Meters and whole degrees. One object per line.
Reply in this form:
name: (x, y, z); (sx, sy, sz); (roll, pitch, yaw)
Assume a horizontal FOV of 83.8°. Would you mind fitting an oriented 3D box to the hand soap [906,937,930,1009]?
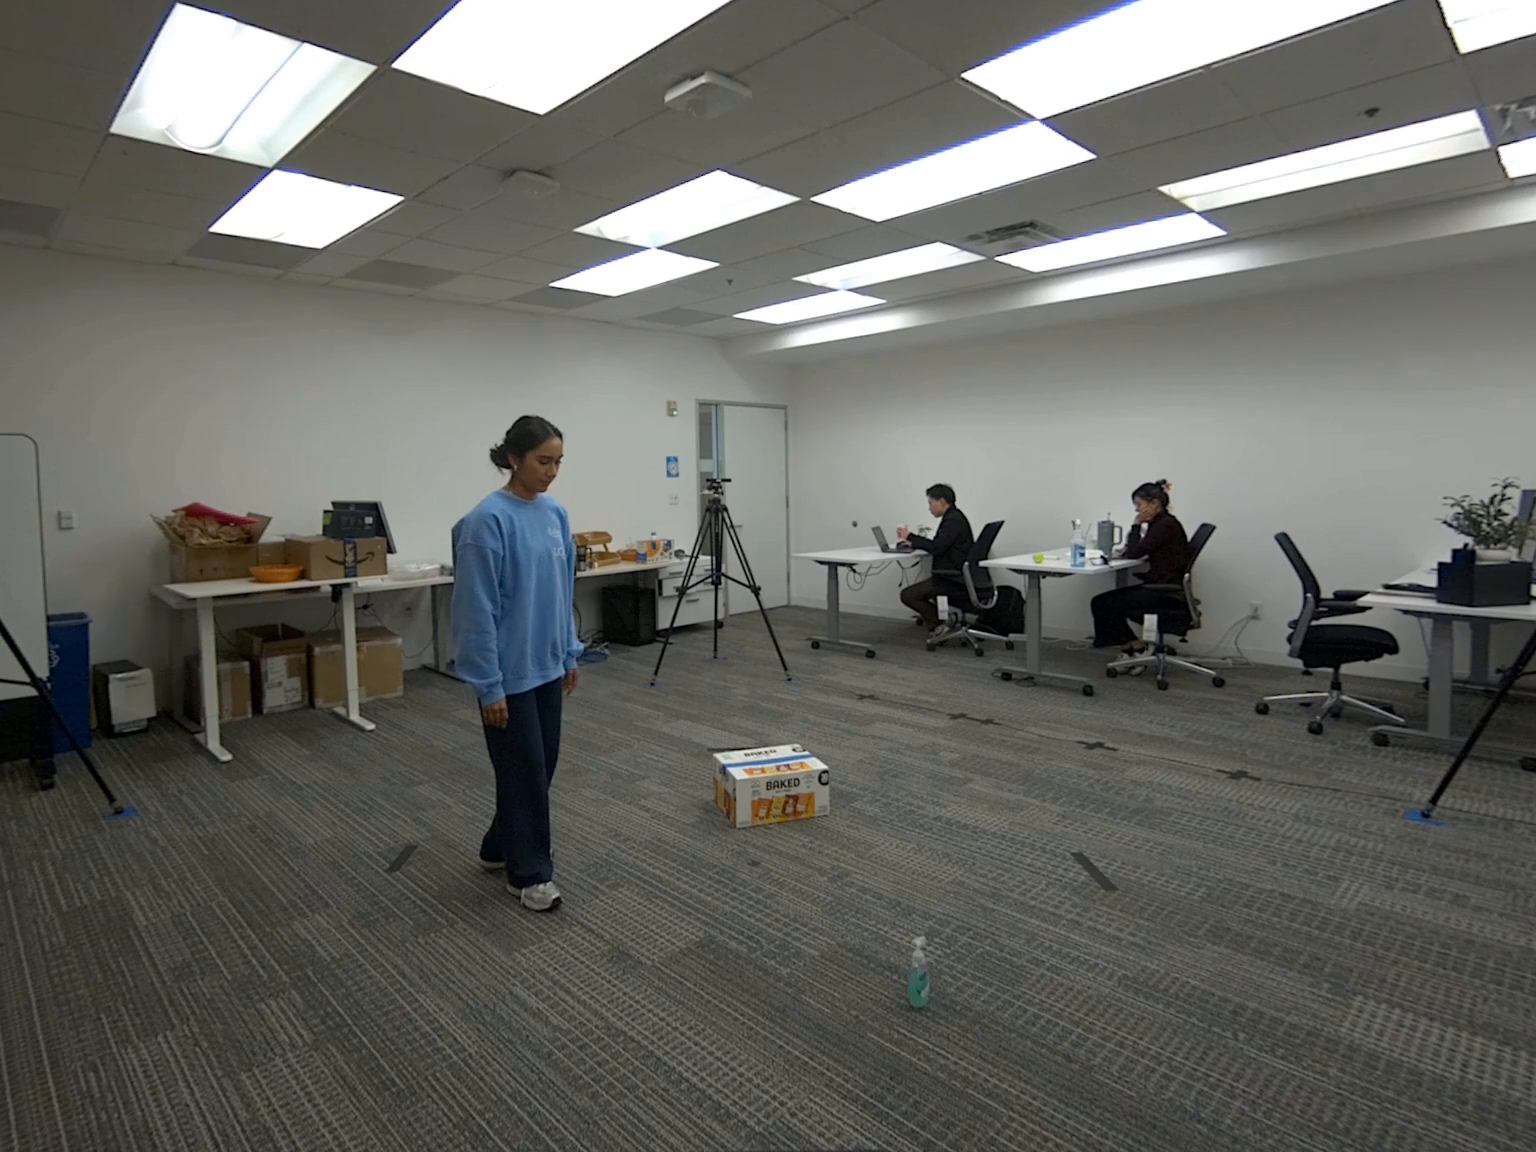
hand soap: (0.408, 1.052, 2.267); (0.044, 0.167, 0.082); (1, 6, 37)
